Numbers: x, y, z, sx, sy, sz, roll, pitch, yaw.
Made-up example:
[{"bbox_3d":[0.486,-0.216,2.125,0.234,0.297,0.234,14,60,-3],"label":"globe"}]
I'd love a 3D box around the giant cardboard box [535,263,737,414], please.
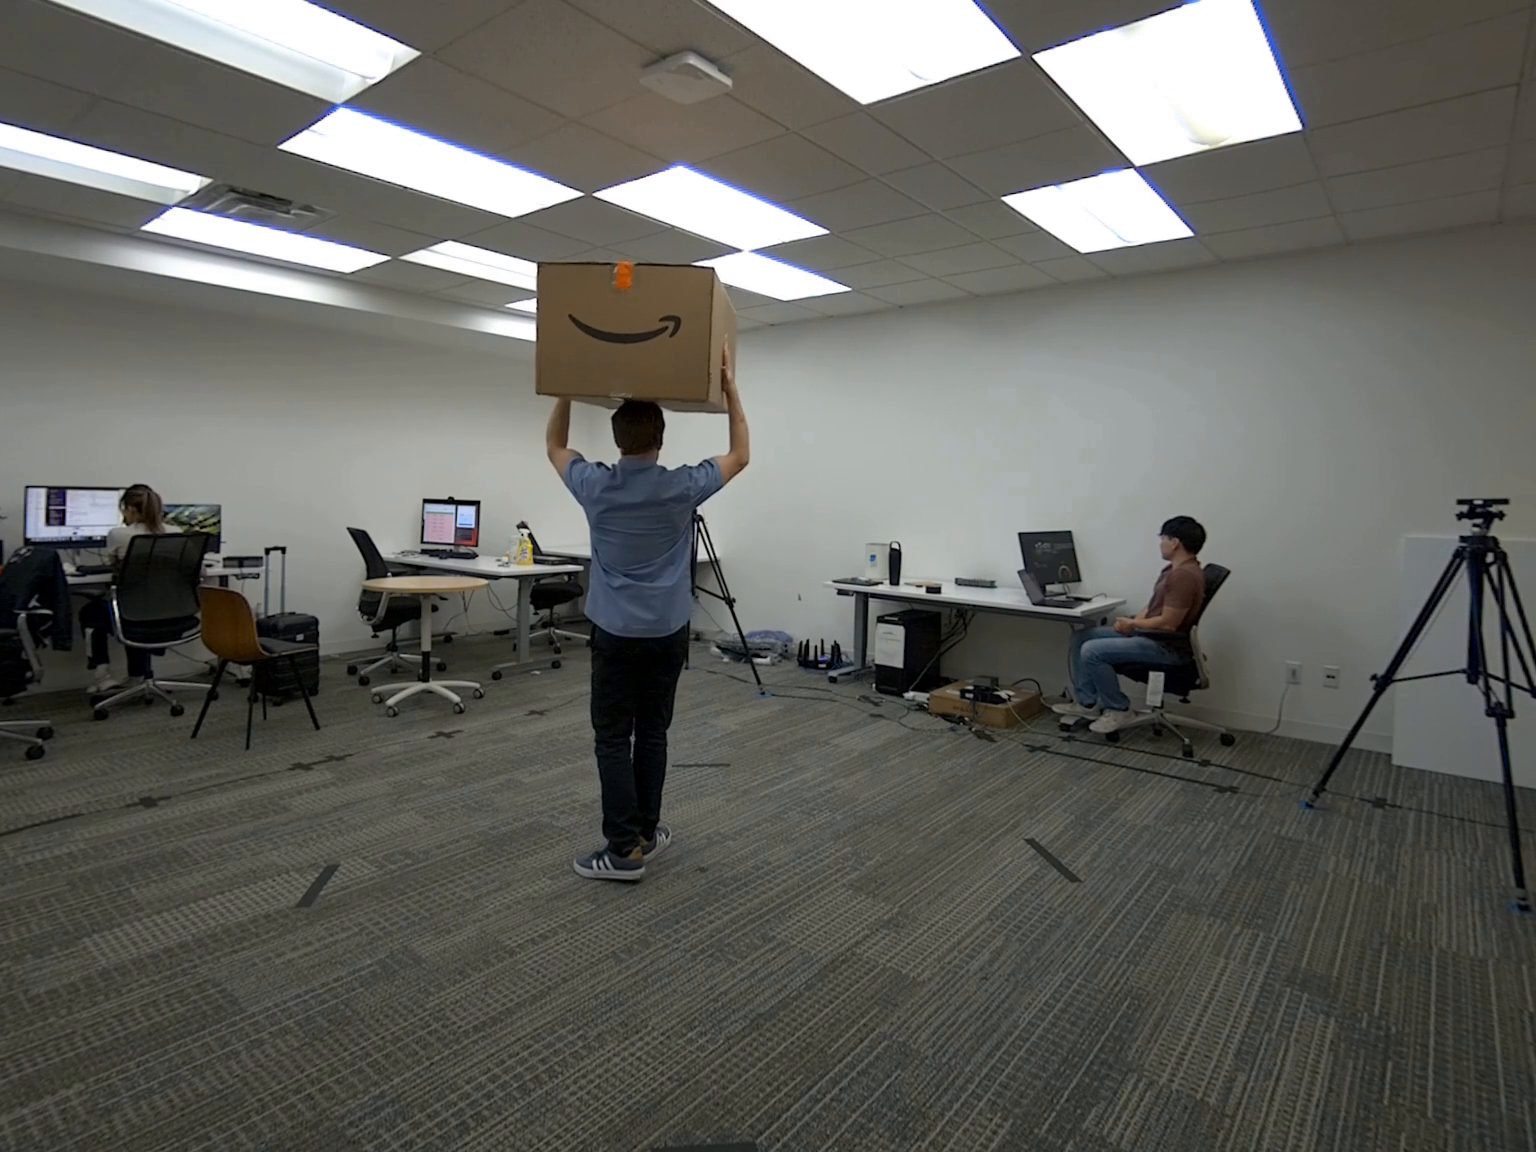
[{"bbox_3d":[-0.458,-0.863,3.219,0.580,0.423,1.028,4,8,2],"label":"giant cardboard box"}]
